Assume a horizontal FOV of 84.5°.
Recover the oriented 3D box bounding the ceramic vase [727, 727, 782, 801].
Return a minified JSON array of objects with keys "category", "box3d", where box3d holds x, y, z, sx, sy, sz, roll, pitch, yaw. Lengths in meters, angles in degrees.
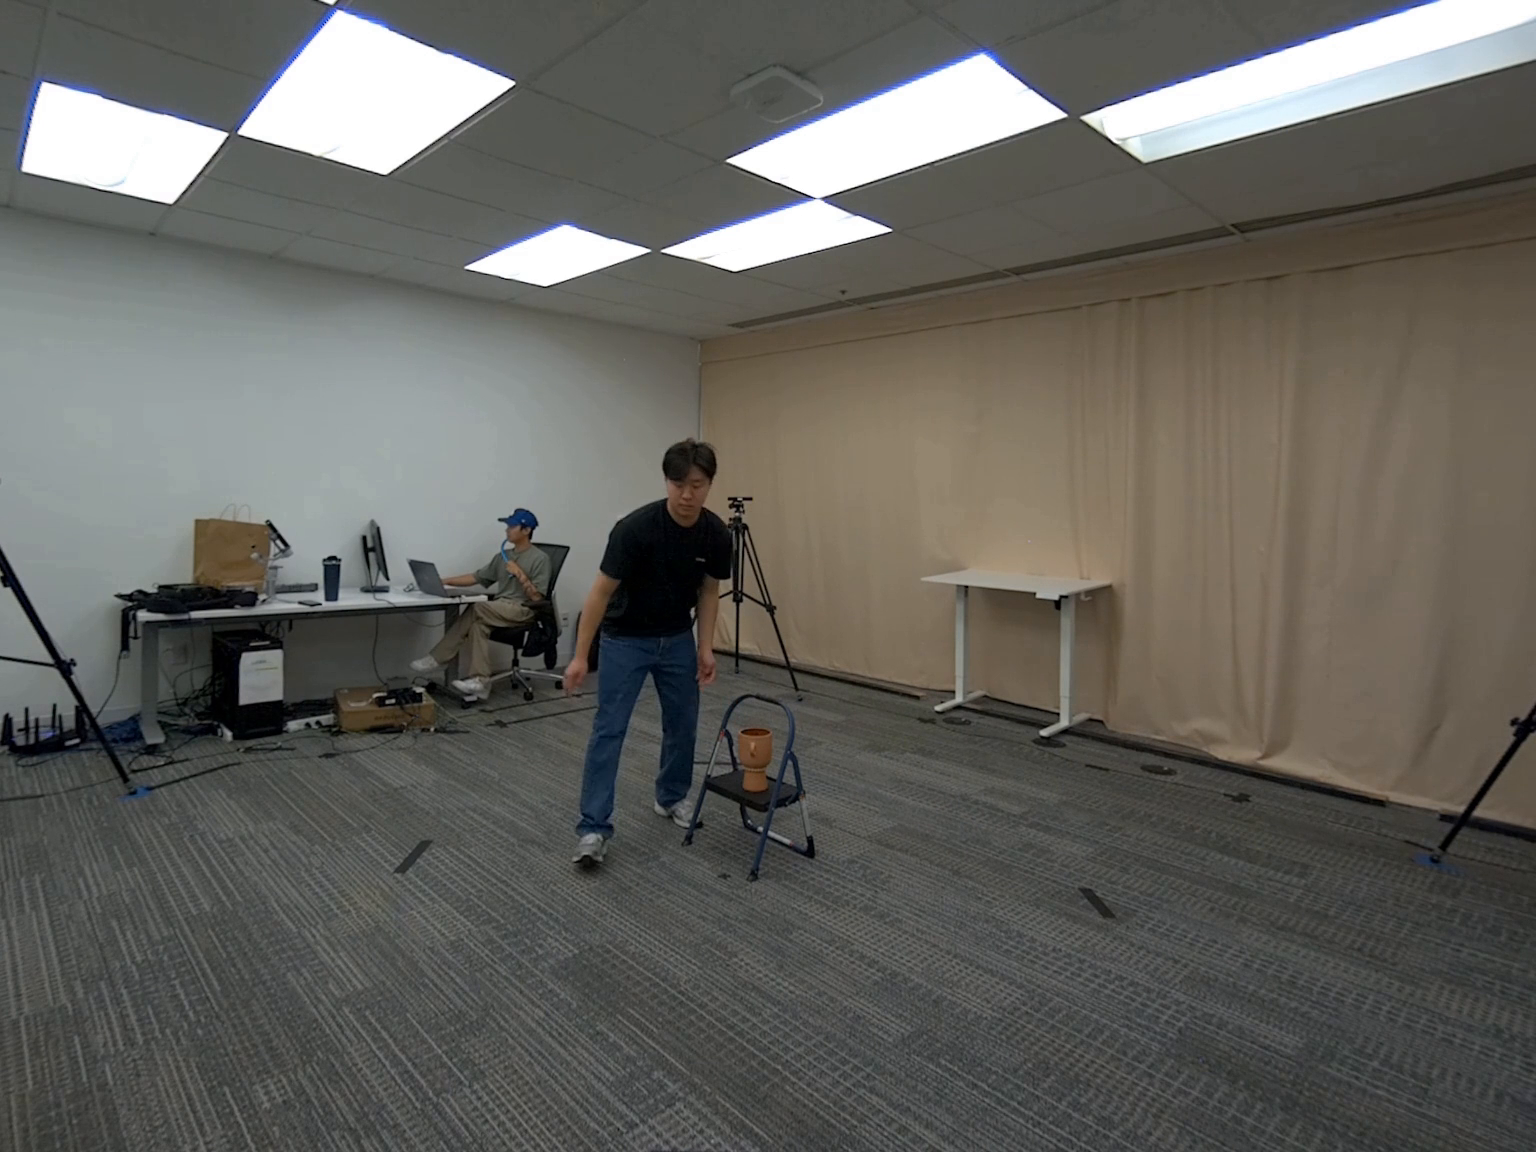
[{"category":"ceramic vase","box3d":[-0.055,0.725,3.293,0.155,0.219,0.138,-5,6,-41]}]
